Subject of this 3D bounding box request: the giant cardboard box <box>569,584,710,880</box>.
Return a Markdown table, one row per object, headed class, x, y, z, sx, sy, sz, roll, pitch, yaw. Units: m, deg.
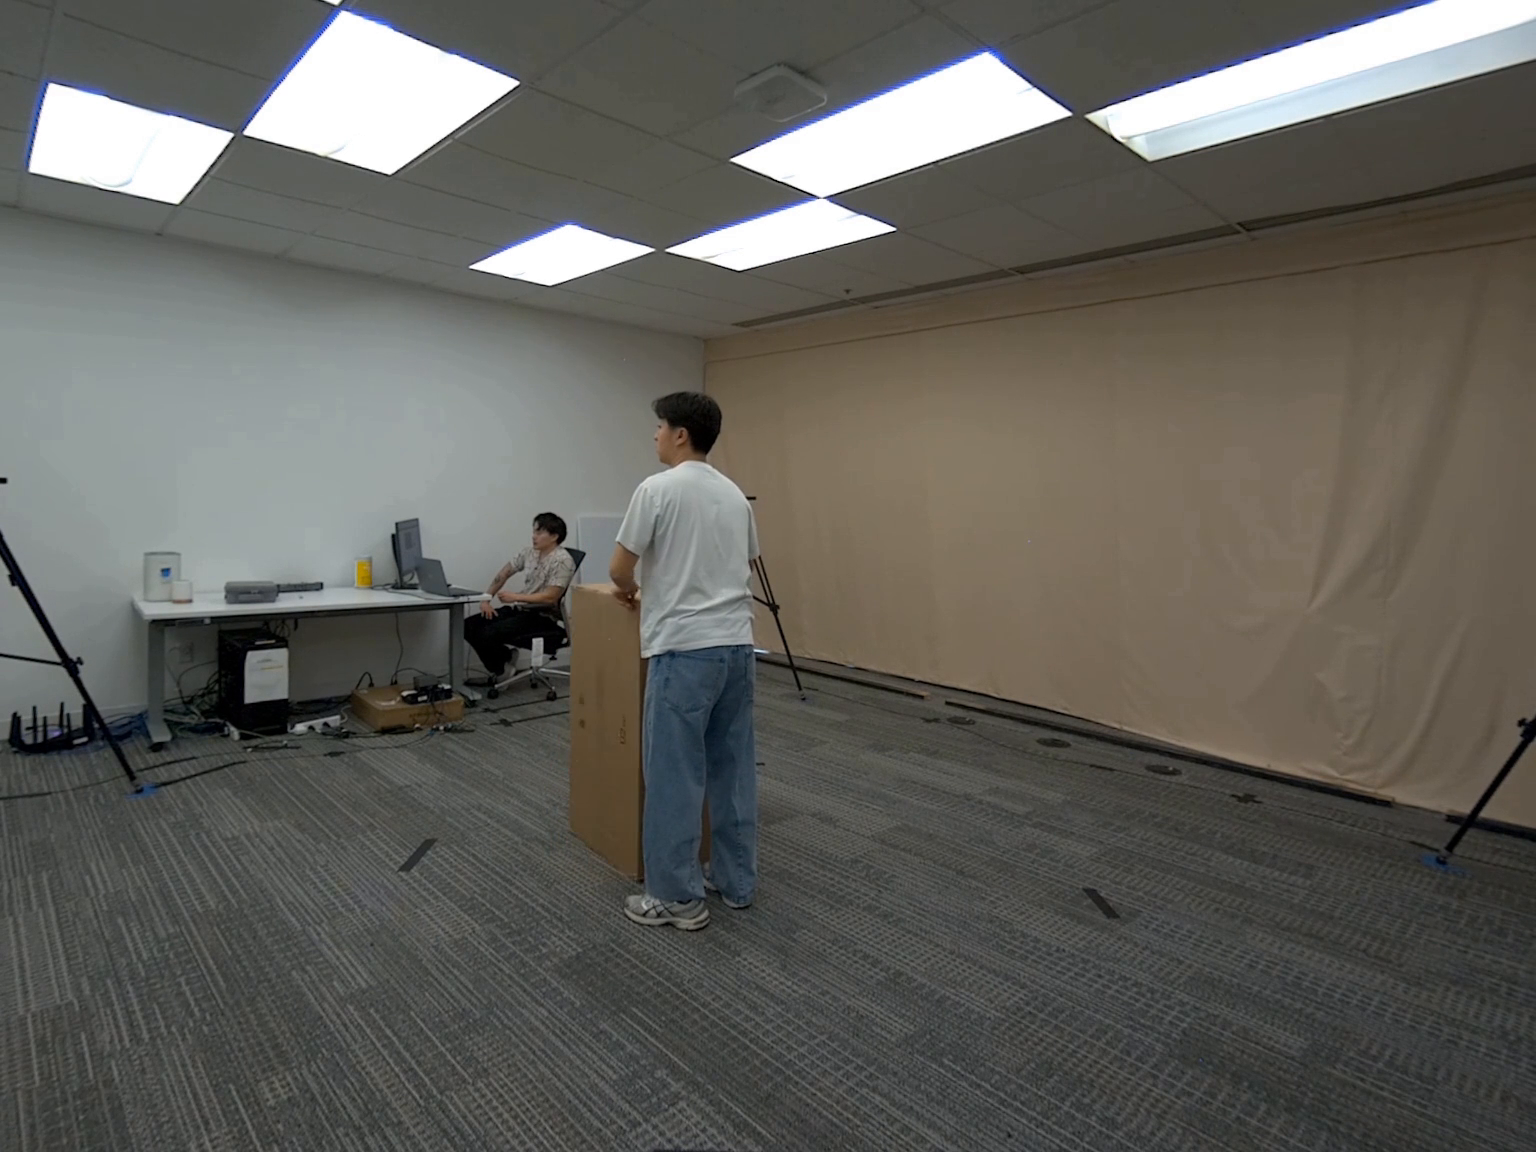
| class | x | y | z | sx | sy | sz | roll | pitch | yaw |
| --- | --- | --- | --- | --- | --- | --- | --- | --- | --- |
| giant cardboard box | -0.490 | 0.566 | 3.363 | 0.417 | 1.023 | 0.592 | -1 | 4 | -37 |
